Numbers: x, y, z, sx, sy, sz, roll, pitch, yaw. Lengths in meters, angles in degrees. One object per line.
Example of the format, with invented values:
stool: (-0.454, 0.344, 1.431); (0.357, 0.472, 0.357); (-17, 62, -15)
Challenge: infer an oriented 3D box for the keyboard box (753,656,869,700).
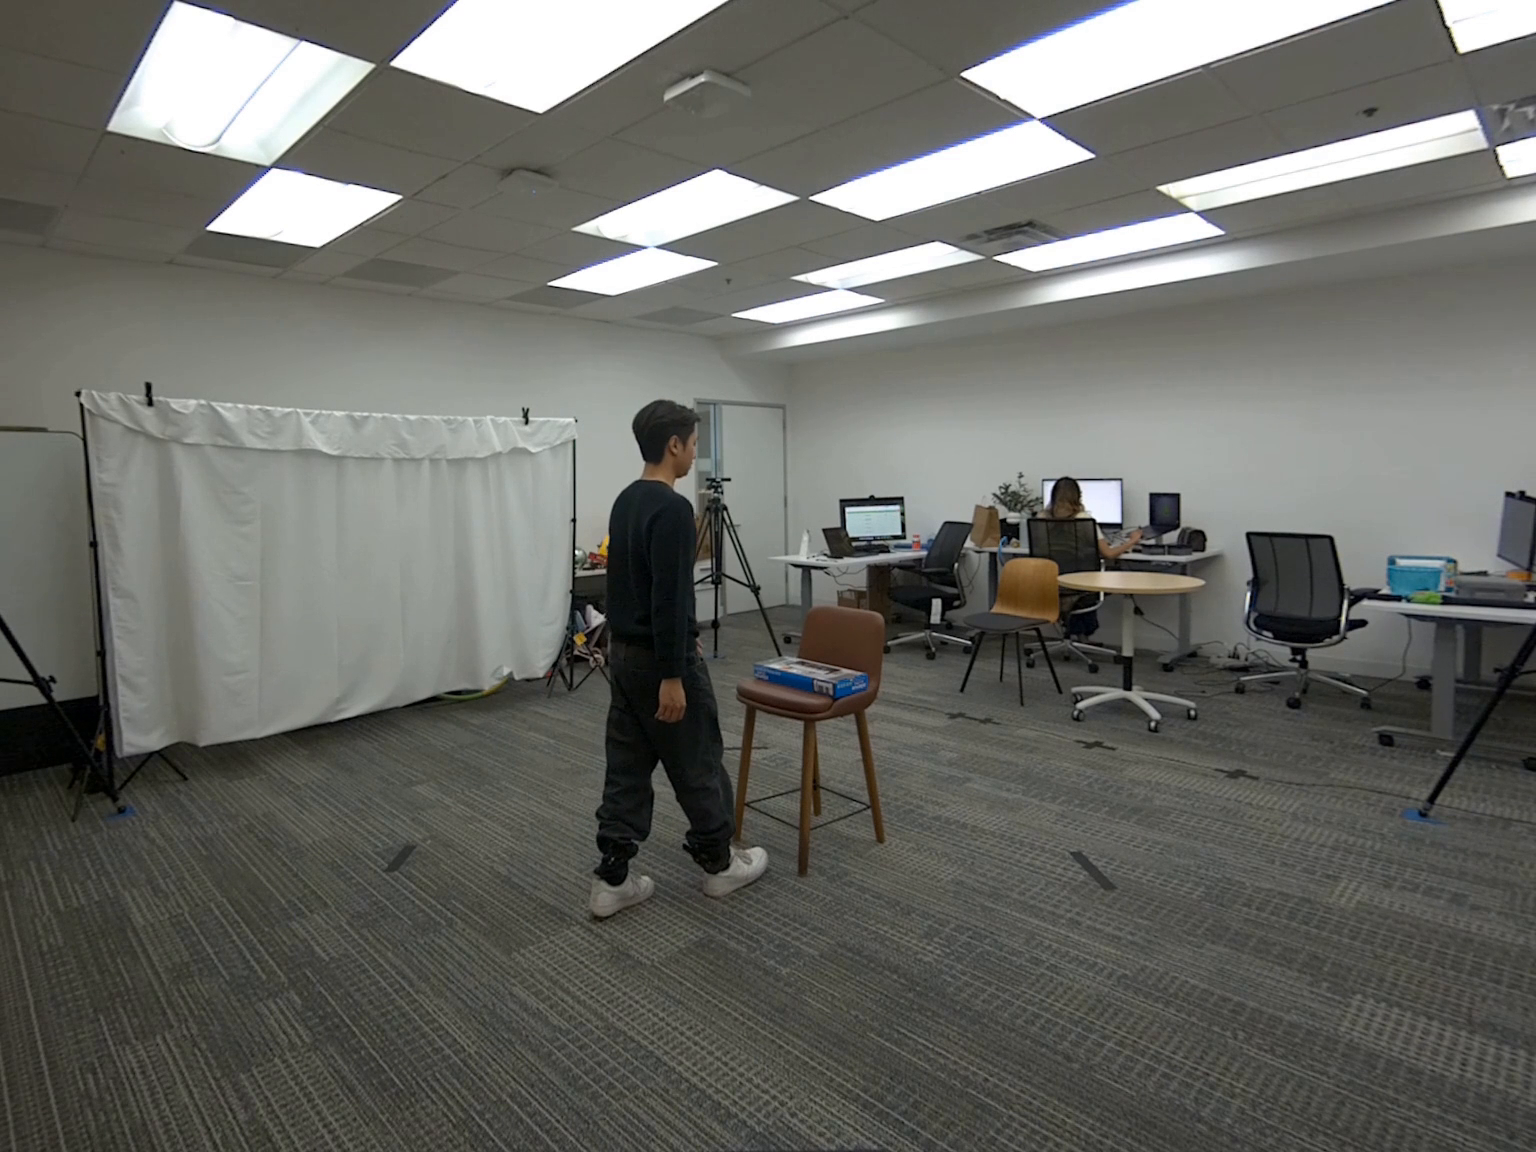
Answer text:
keyboard box: (0.152, 0.370, 3.233); (0.172, 0.059, 0.450); (-9, 10, -40)
